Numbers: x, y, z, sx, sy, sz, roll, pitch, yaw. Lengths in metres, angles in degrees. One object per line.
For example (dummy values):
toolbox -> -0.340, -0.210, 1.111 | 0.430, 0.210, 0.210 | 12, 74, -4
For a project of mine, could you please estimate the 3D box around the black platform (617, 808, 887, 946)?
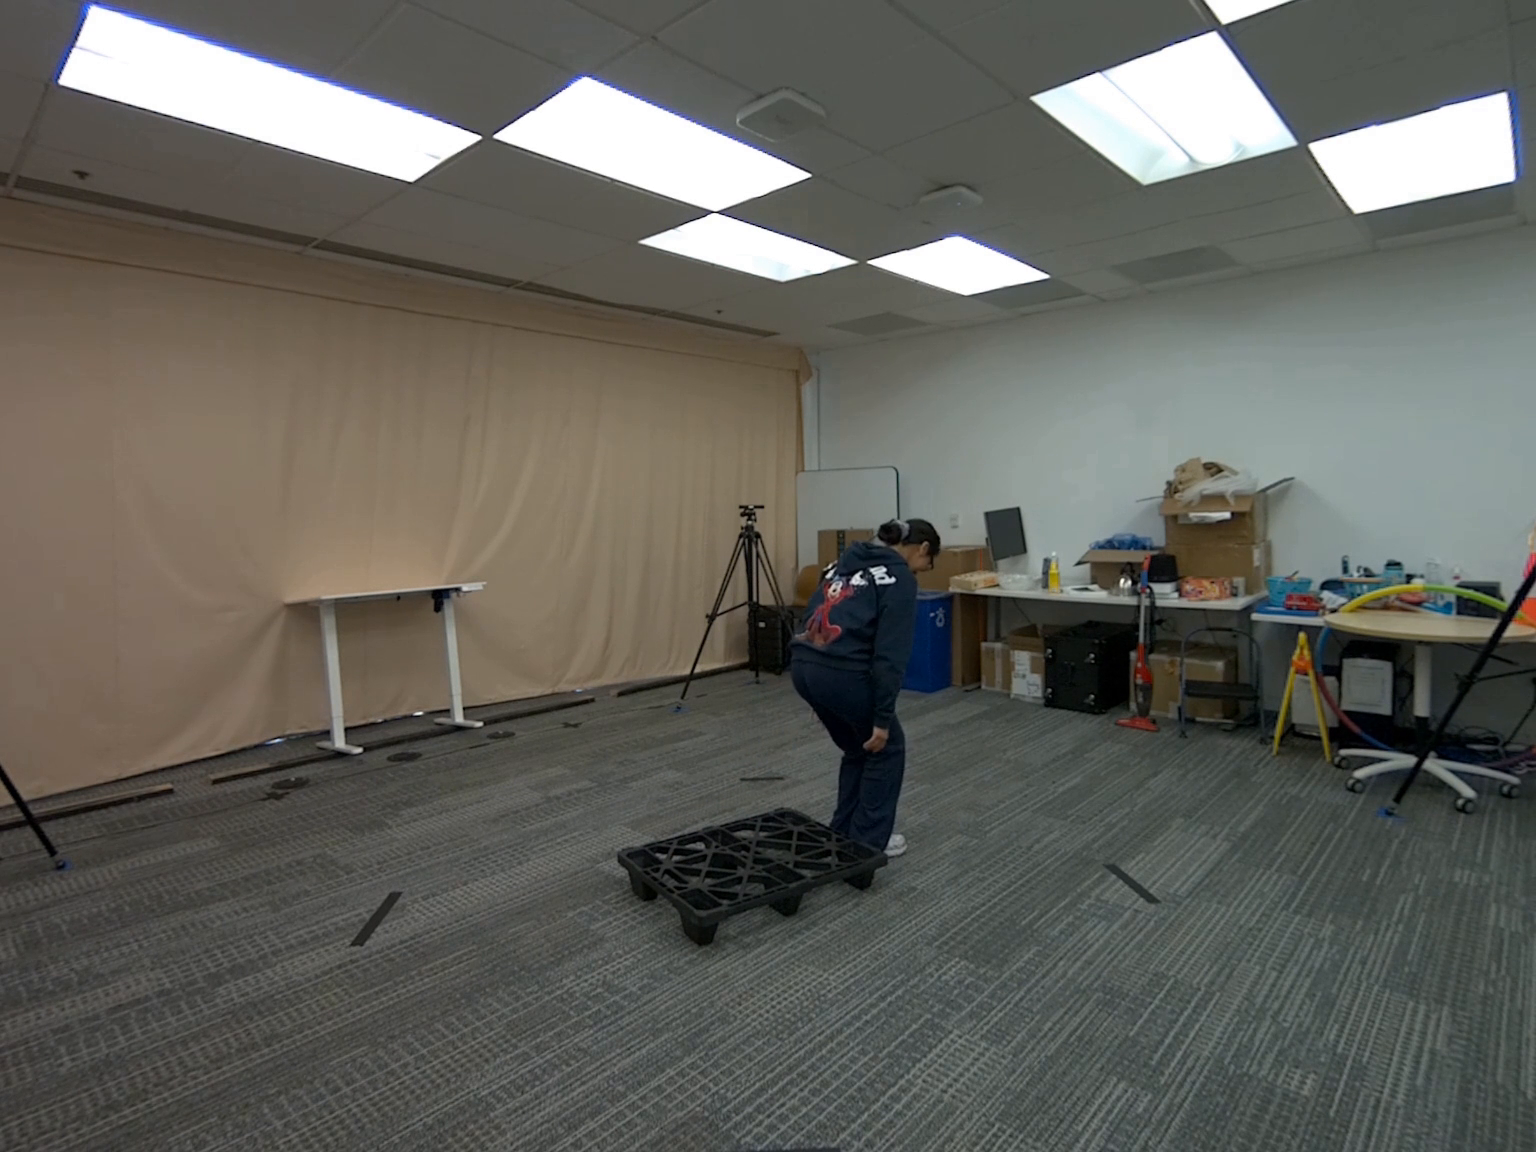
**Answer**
black platform -> -0.066, 1.071, 3.048 | 0.783, 0.143, 0.624 | -4, 5, -34
